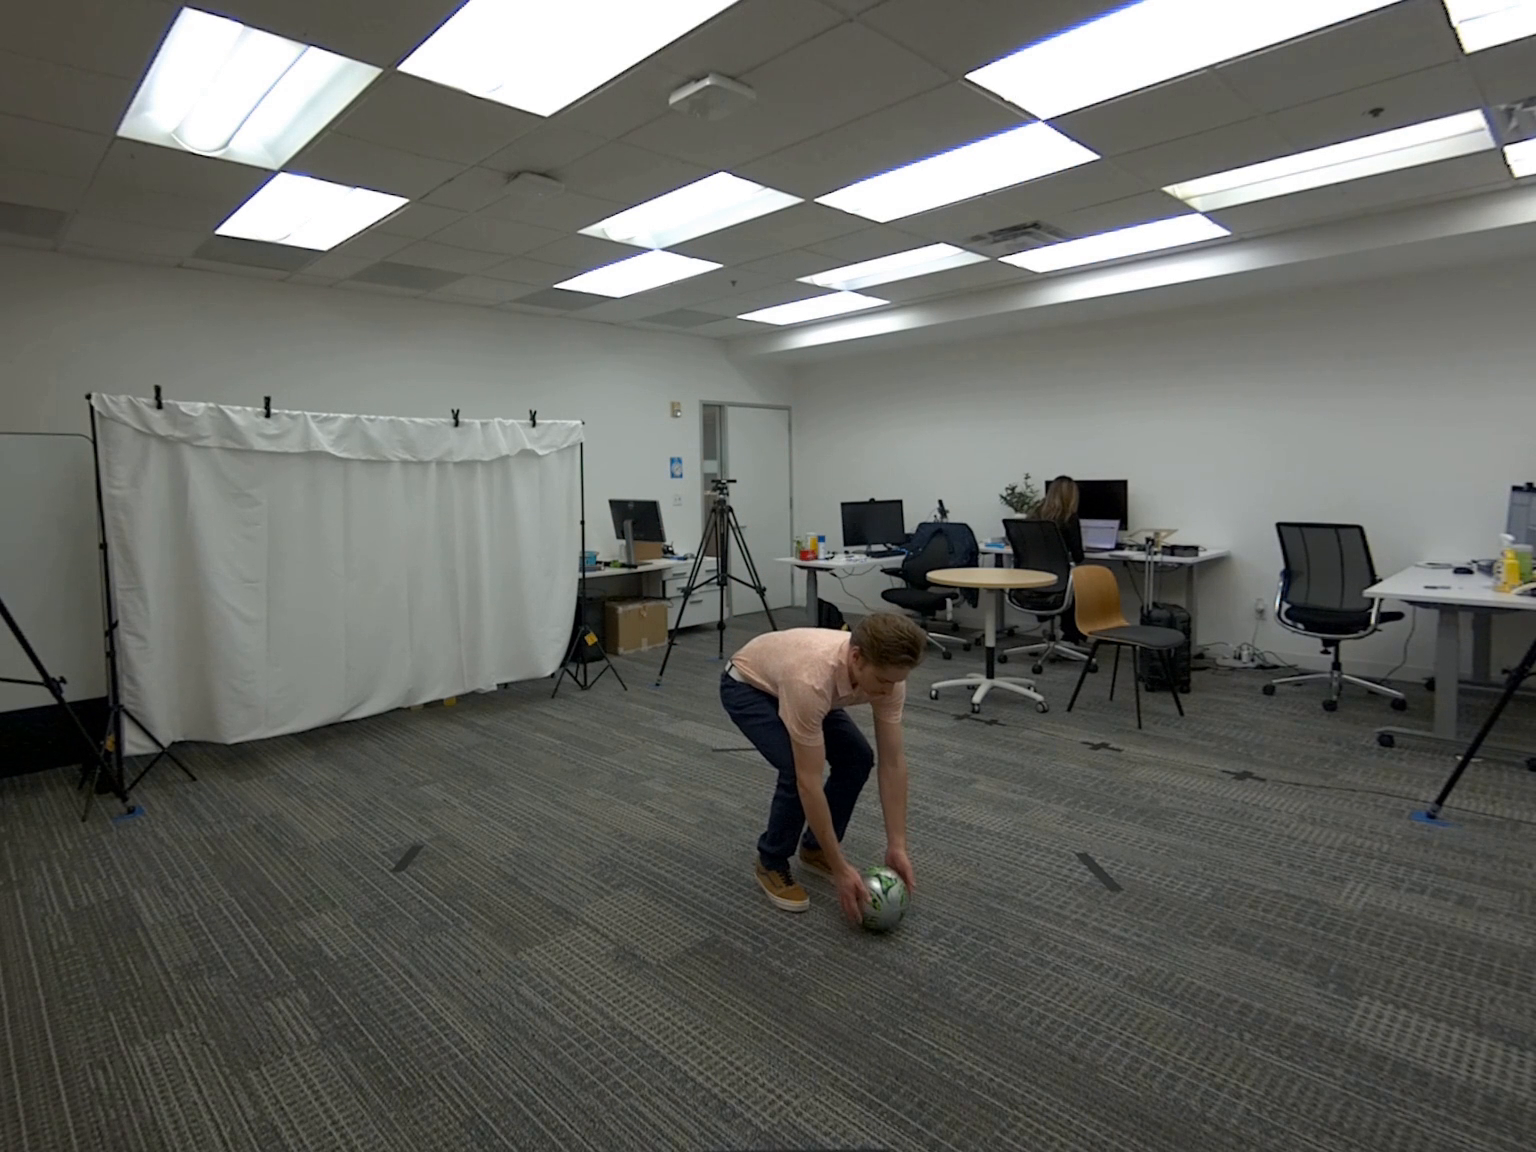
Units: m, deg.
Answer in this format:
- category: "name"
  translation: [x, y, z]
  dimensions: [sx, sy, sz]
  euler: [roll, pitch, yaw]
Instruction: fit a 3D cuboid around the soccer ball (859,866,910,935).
- category: "soccer ball"
  translation: [0.344, 1.001, 2.653]
  dimensions: [0.187, 0.187, 0.188]
  euler: [-1, 5, -2]
